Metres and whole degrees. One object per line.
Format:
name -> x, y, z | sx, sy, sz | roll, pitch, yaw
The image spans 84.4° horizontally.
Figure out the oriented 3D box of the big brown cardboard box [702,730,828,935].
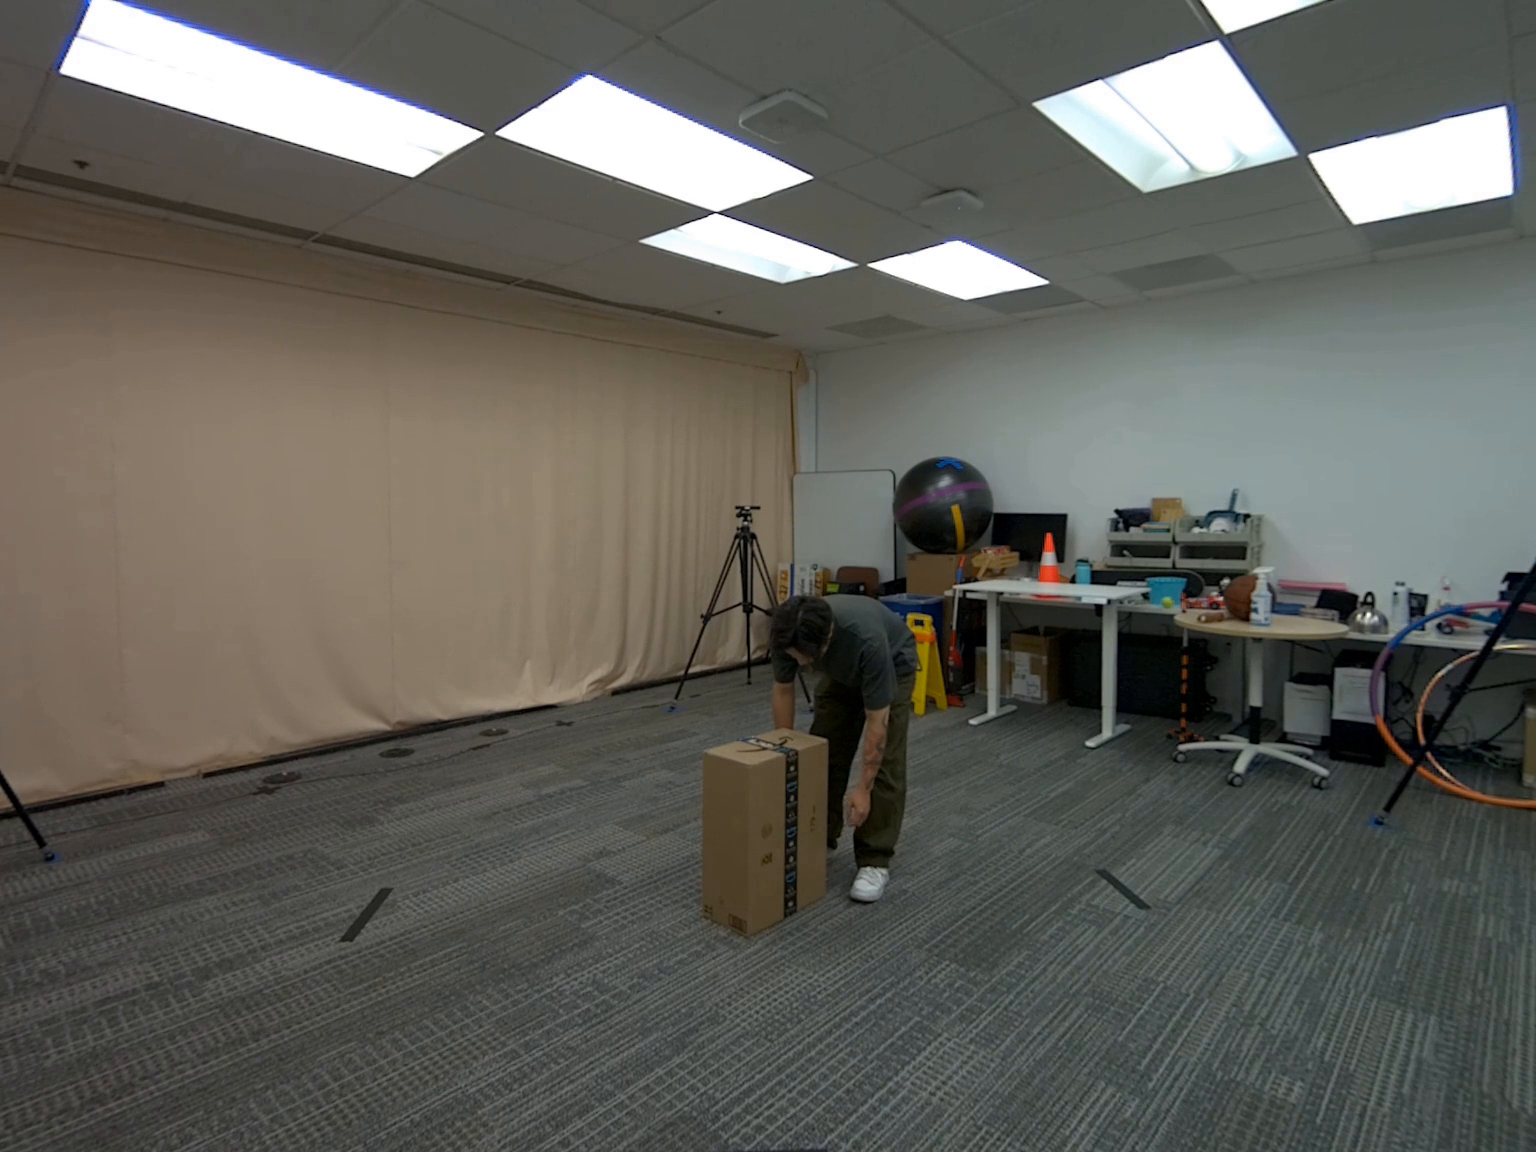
big brown cardboard box -> -0.005, 0.862, 2.918 | 0.241, 0.588, 0.404 | 2, 3, 43
